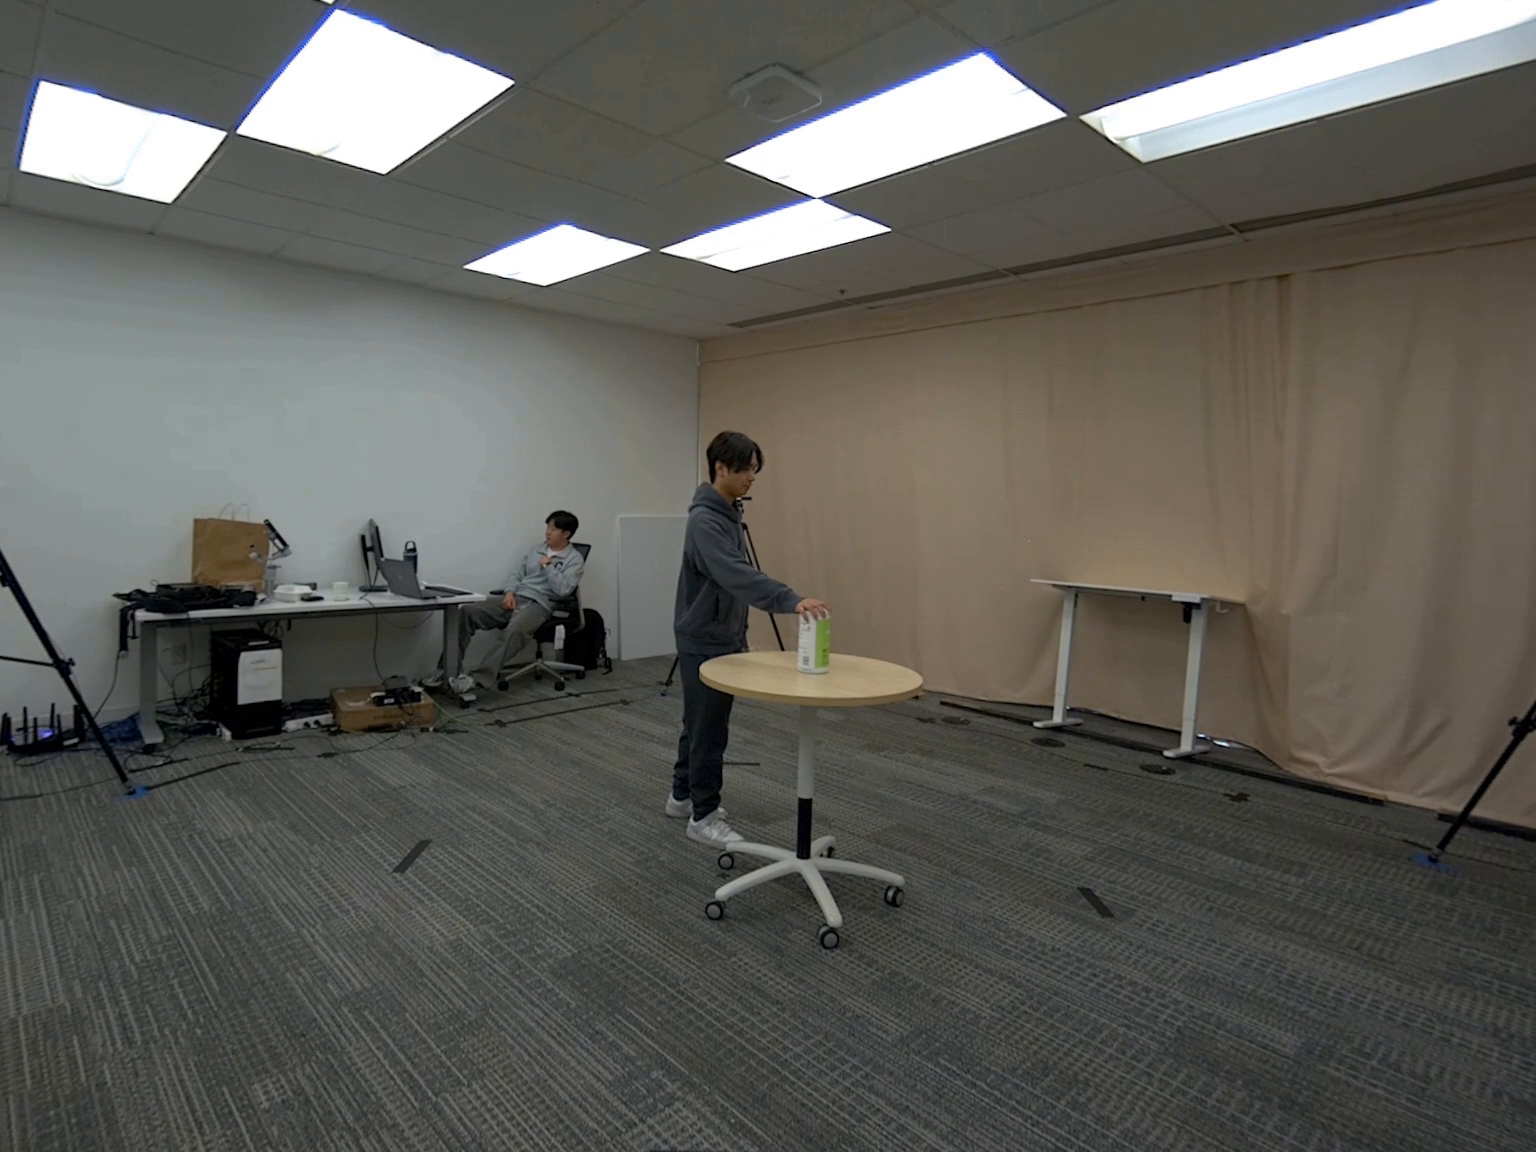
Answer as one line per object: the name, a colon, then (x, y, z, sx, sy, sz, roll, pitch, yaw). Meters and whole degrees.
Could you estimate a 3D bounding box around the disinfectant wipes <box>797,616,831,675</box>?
disinfectant wipes: (0.154, 0.228, 2.921, 0.118, 0.217, 0.118, 1, 3, -1)
